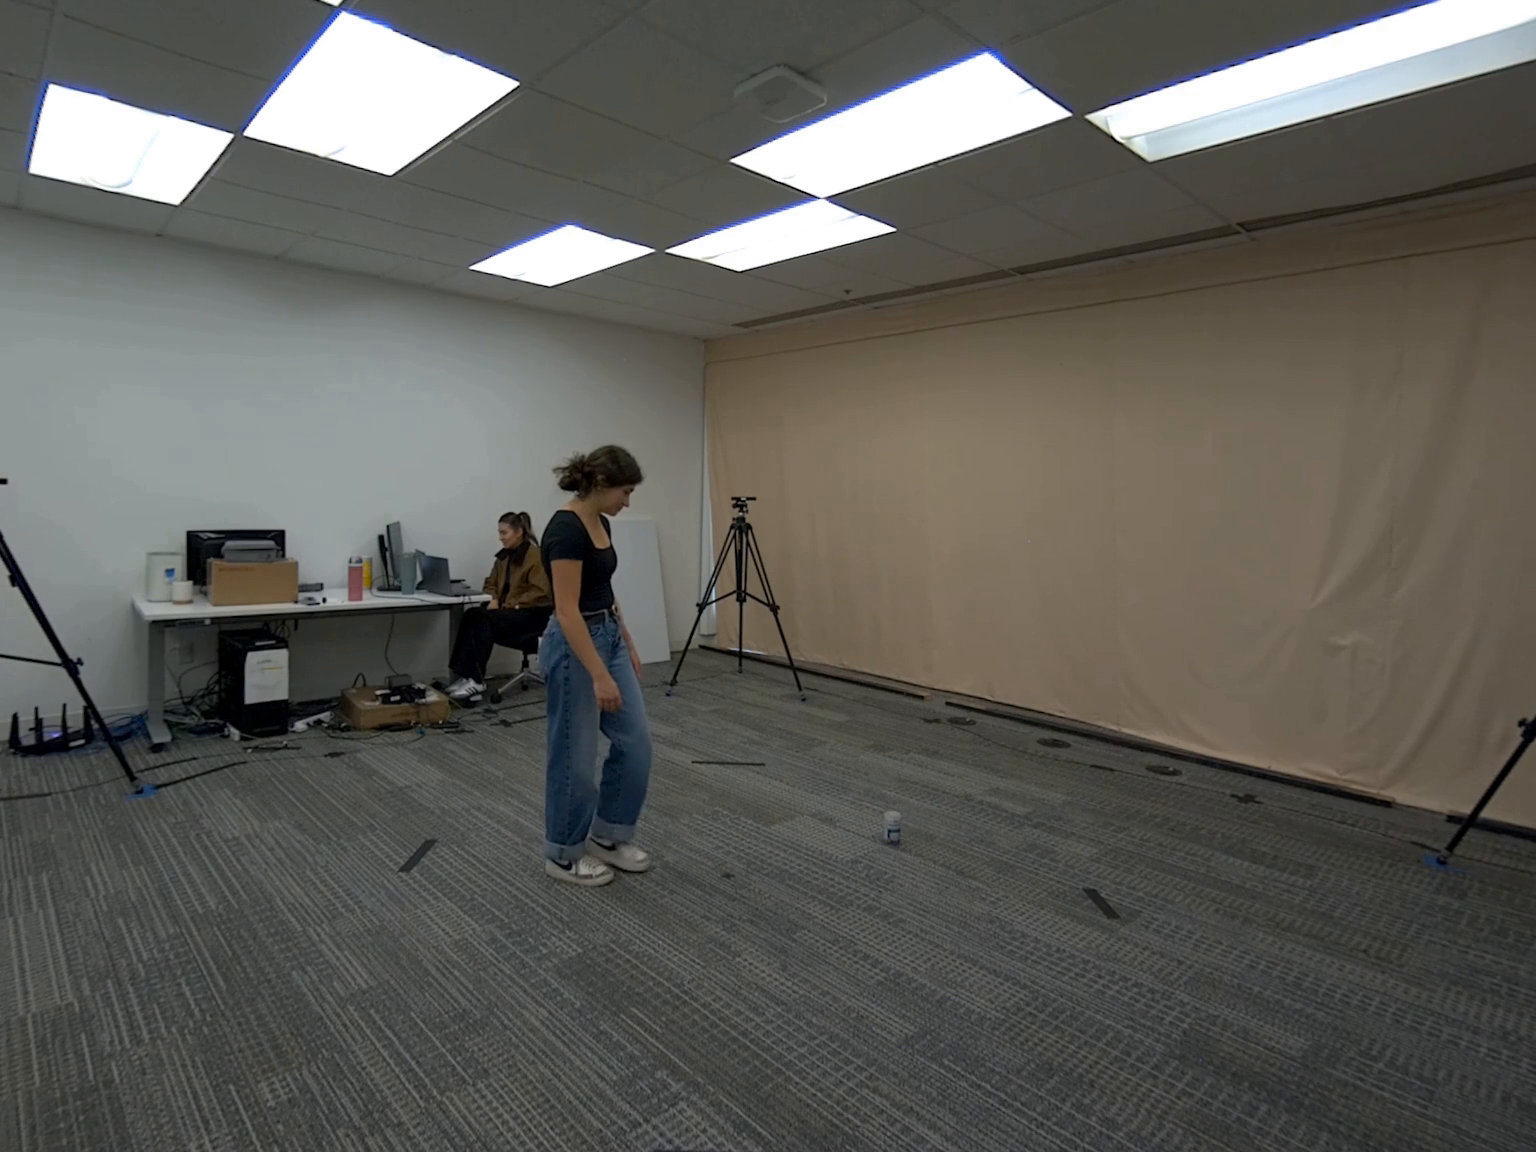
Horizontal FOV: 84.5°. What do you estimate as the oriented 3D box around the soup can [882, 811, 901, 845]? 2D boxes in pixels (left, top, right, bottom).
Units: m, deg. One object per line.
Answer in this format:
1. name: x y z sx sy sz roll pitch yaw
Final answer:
1. soup can: 0.502 1.032 3.449 0.067 0.121 0.067 2 4 -2
